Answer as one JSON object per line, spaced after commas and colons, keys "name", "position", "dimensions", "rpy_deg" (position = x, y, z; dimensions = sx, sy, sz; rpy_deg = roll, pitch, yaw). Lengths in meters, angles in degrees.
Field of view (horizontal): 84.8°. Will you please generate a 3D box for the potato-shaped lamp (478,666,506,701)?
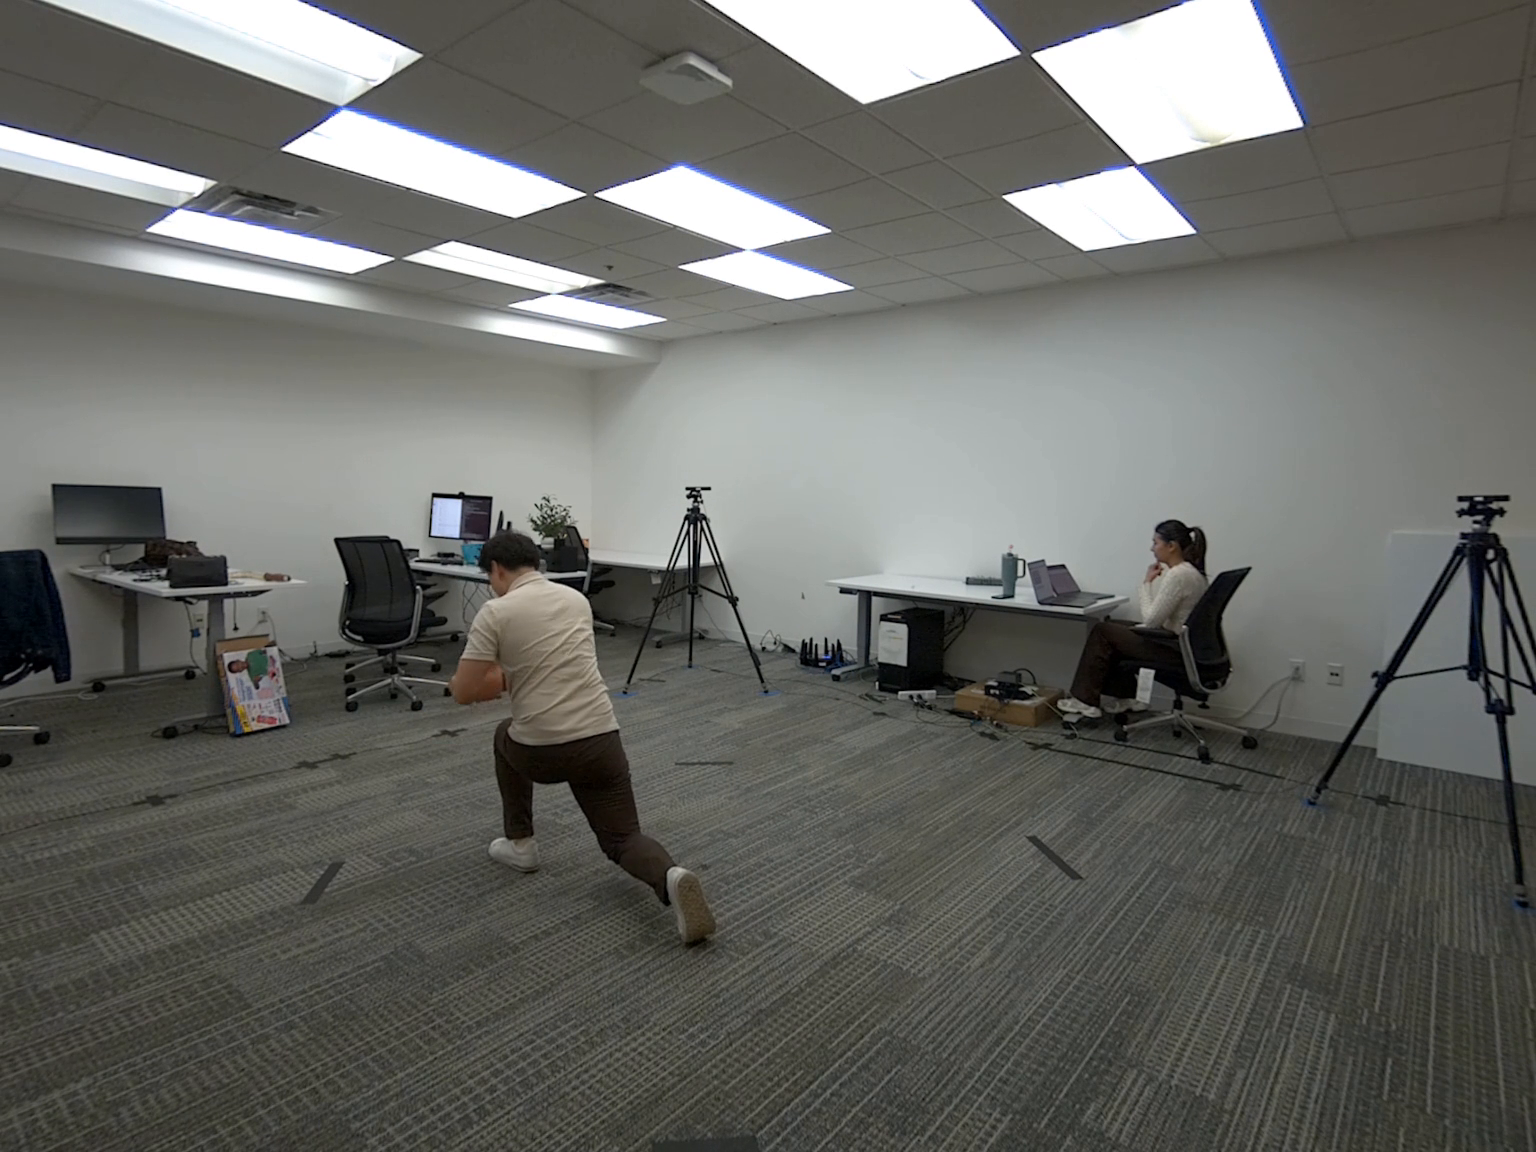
{"name": "potato-shaped lamp", "position": [-1.055, 0.370, 3.118], "dimensions": [0.176, 0.198, 0.160], "rpy_deg": [5, -3, 25]}
